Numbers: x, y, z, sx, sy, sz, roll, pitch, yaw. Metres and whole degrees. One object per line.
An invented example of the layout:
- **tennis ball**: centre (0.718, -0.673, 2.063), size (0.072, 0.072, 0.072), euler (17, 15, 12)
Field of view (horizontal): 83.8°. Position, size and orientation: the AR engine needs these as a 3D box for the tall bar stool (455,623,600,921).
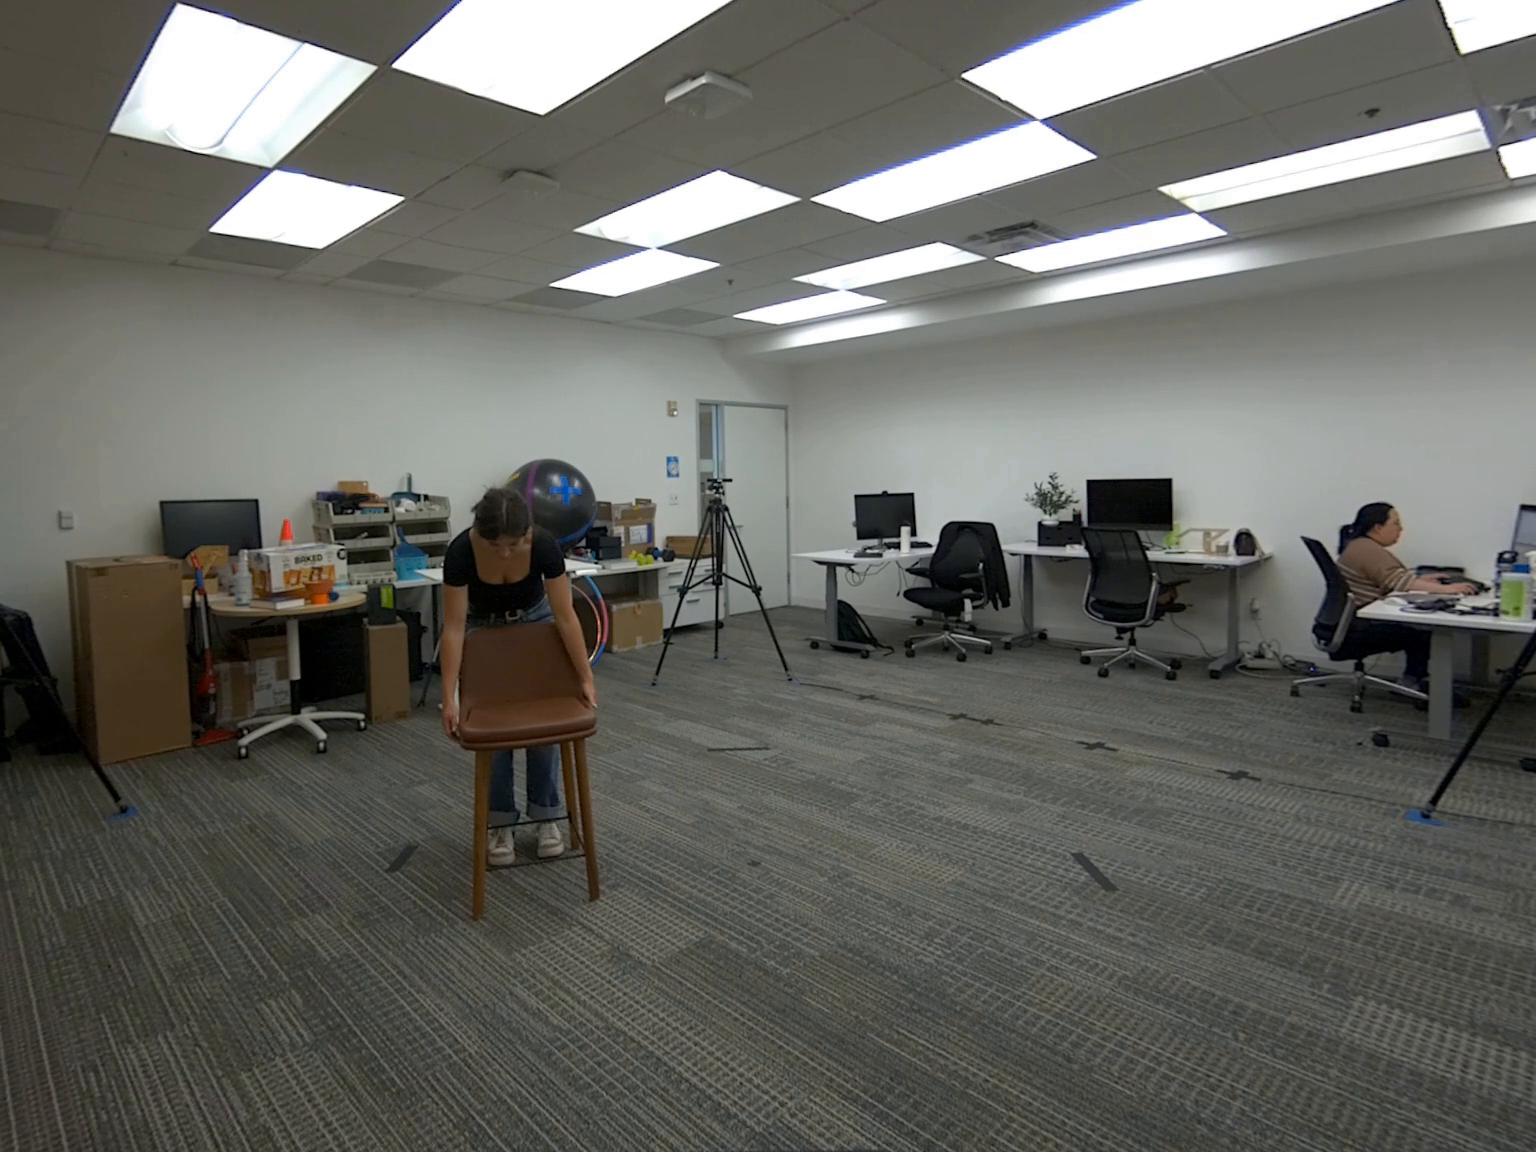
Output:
- **tall bar stool**: centre (-0.842, 0.637, 2.983), size (0.449, 0.888, 0.476), euler (-2, 2, -18)
